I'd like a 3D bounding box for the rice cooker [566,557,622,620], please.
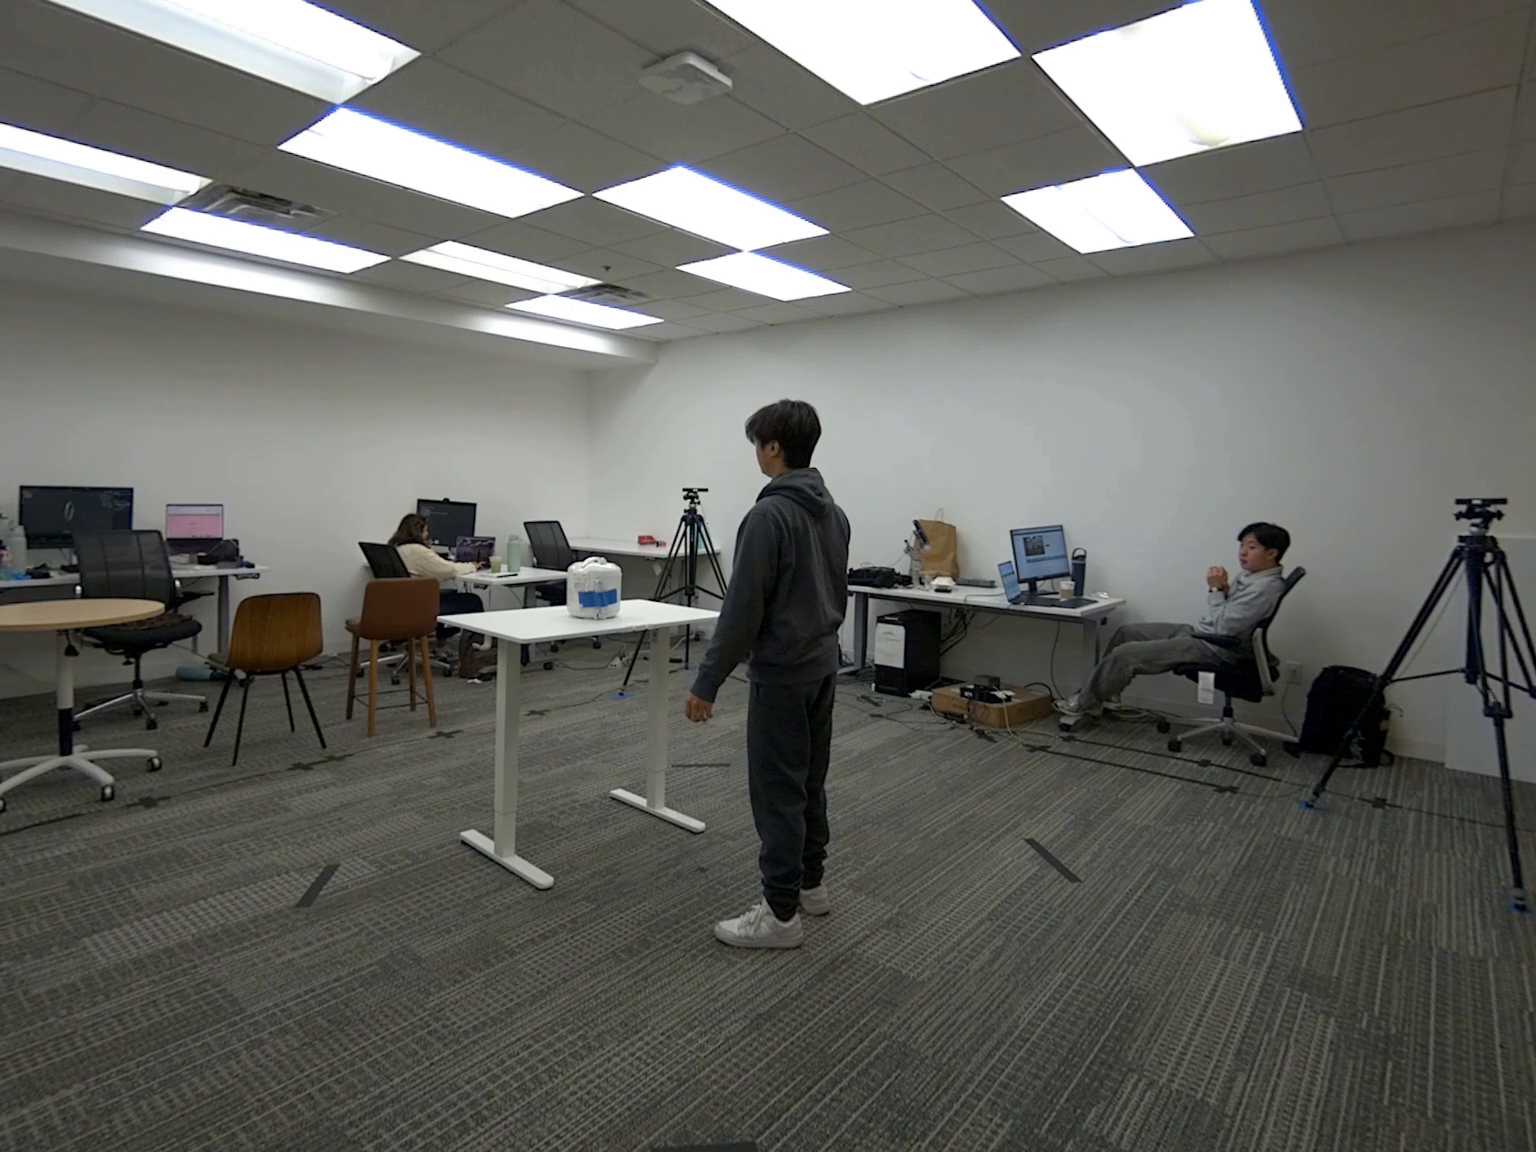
[{"bbox_3d":[-0.699,0.041,3.343,0.223,0.232,0.216,5,4,22],"label":"rice cooker"}]
